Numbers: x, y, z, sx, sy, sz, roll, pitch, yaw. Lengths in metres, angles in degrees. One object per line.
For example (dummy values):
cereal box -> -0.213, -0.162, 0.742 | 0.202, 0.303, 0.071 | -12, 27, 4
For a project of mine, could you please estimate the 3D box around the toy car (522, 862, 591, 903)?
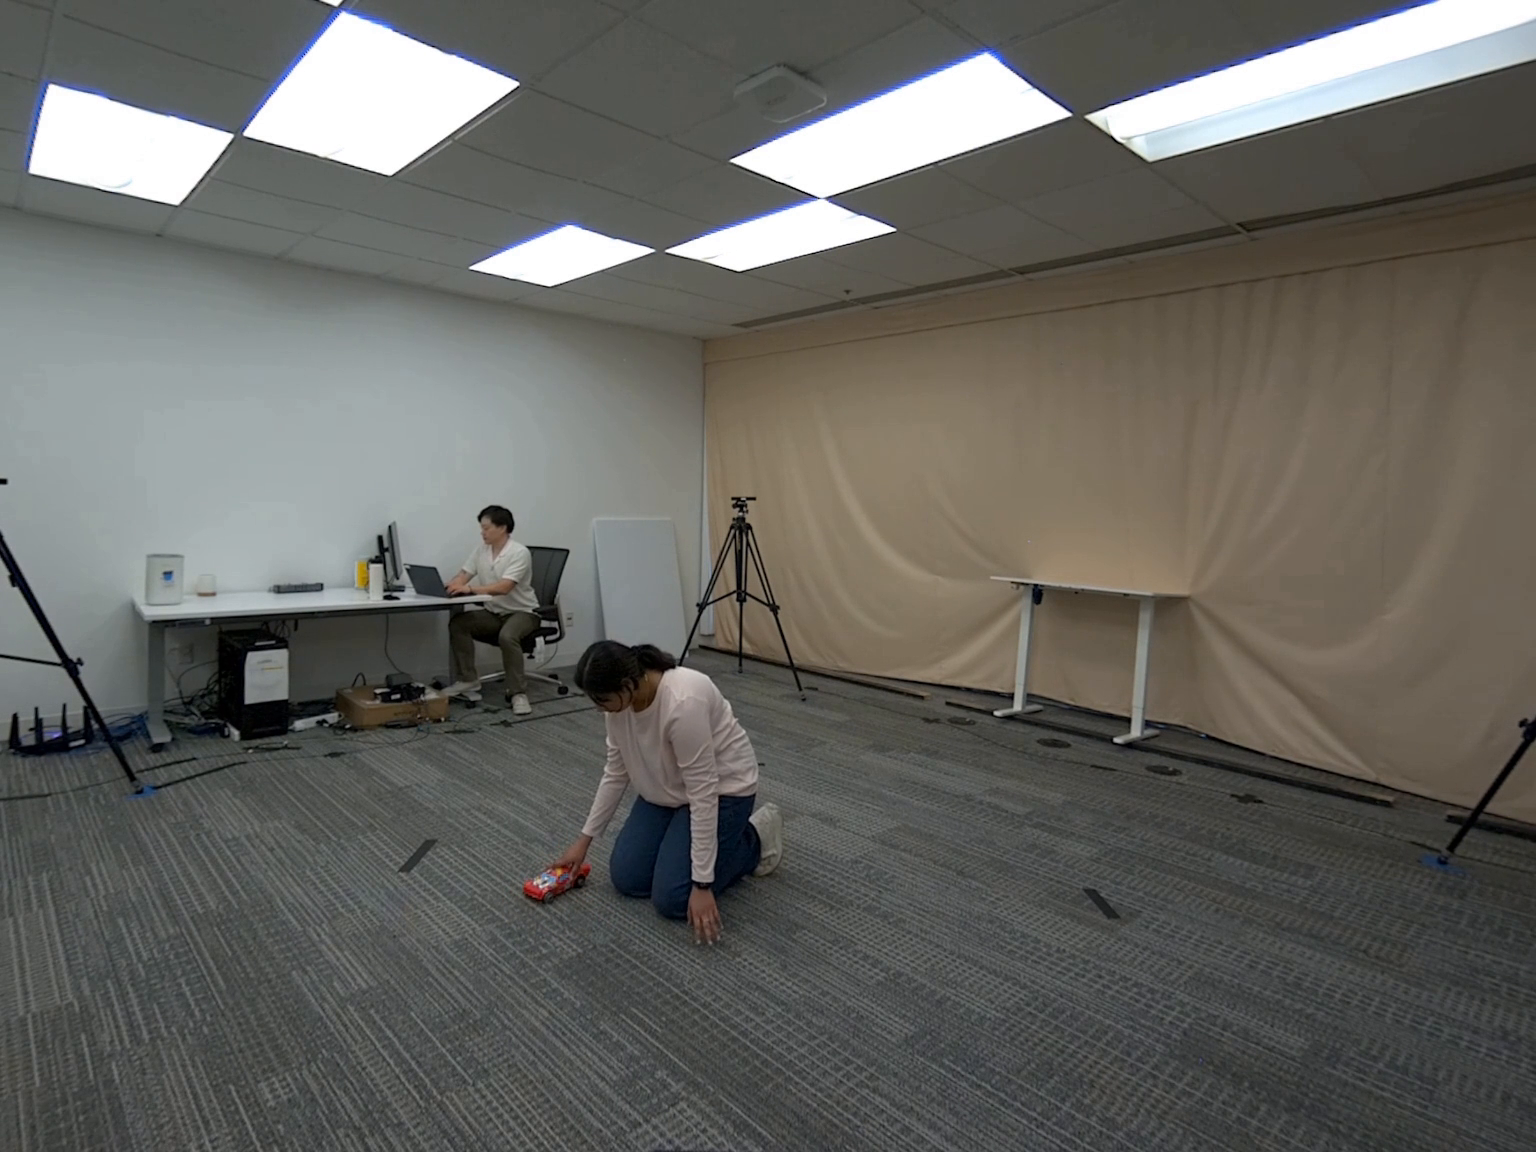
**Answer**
toy car -> -0.742, 1.070, 2.974 | 0.133, 0.082, 0.251 | 4, 16, 36
